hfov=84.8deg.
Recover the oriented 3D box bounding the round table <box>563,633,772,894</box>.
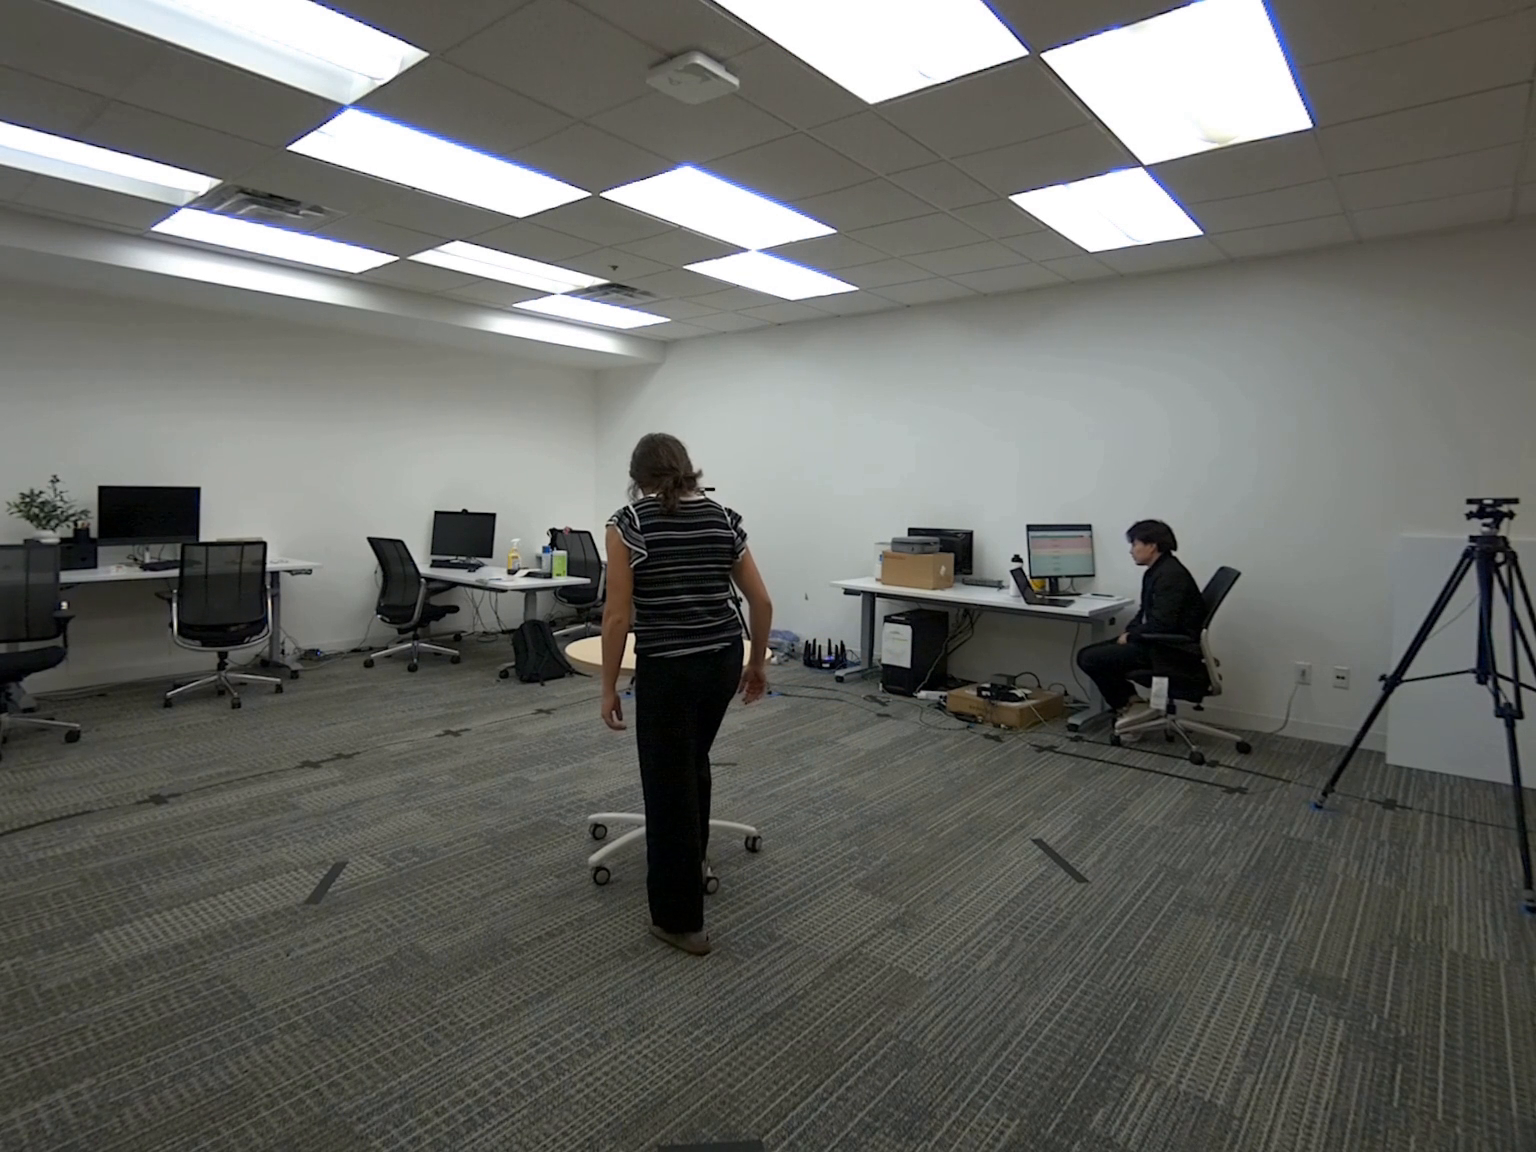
[{"bbox_3d":[-0.403,0.659,3.185,0.784,0.784,0.789,1,4,-2],"label":"round table"}]
